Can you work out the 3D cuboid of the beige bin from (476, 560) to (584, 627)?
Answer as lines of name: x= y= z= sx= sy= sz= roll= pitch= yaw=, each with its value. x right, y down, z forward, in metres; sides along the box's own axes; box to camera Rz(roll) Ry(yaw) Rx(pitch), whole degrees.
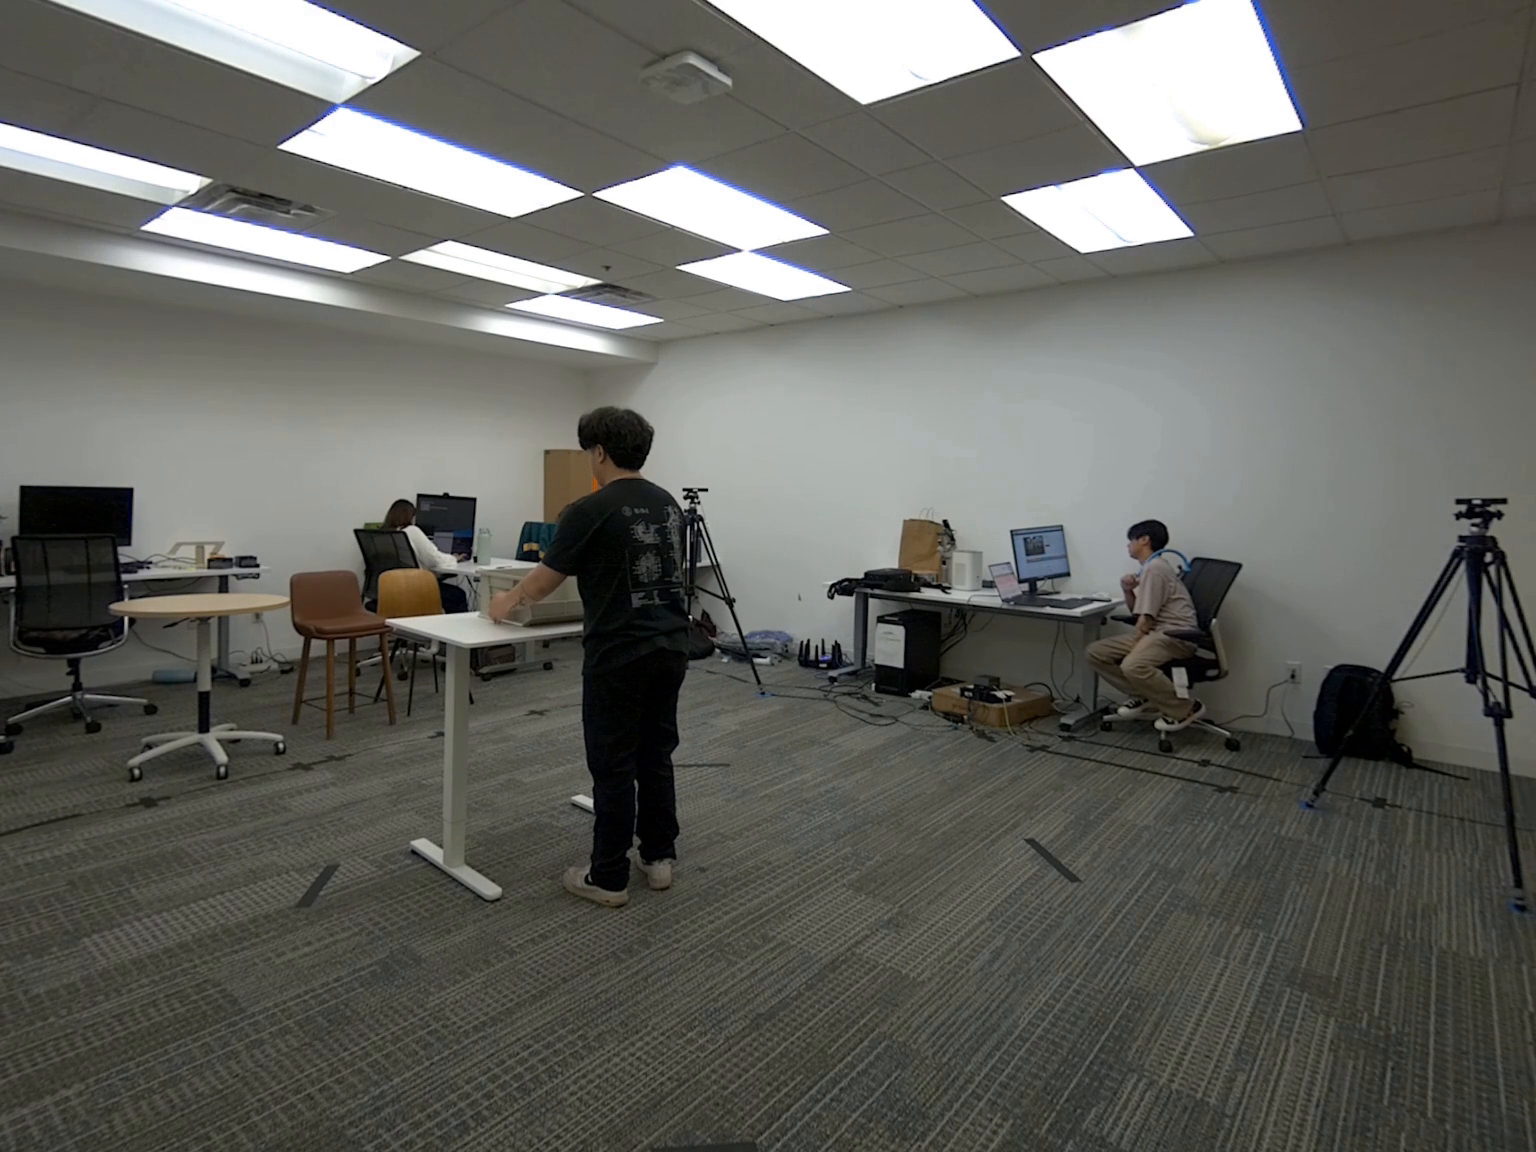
beige bin: x=-0.856 y=0.073 z=3.290 sx=0.410 sy=0.188 sz=0.390 roll=-4 pitch=7 yaw=-44
